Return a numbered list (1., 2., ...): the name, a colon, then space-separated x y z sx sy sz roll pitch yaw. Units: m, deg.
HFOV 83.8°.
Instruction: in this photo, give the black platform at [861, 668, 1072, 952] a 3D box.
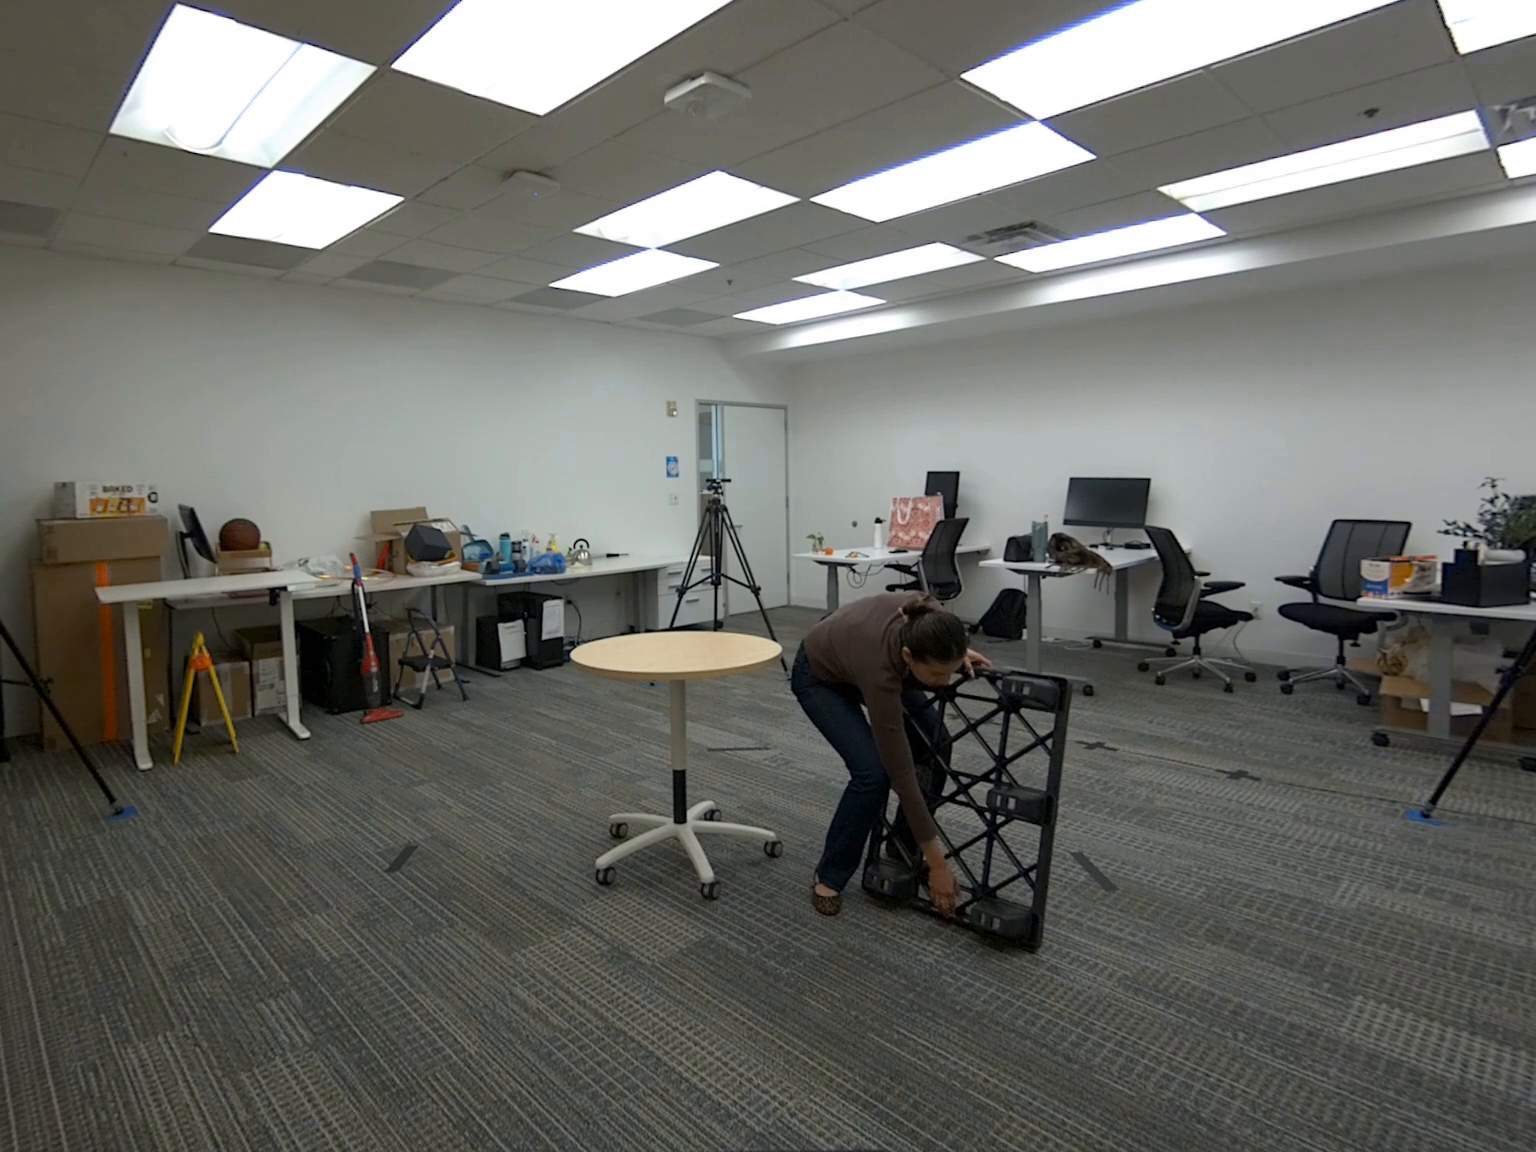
1. black platform: 0.607 0.676 2.711 0.623 0.811 0.138 3 -13 40
